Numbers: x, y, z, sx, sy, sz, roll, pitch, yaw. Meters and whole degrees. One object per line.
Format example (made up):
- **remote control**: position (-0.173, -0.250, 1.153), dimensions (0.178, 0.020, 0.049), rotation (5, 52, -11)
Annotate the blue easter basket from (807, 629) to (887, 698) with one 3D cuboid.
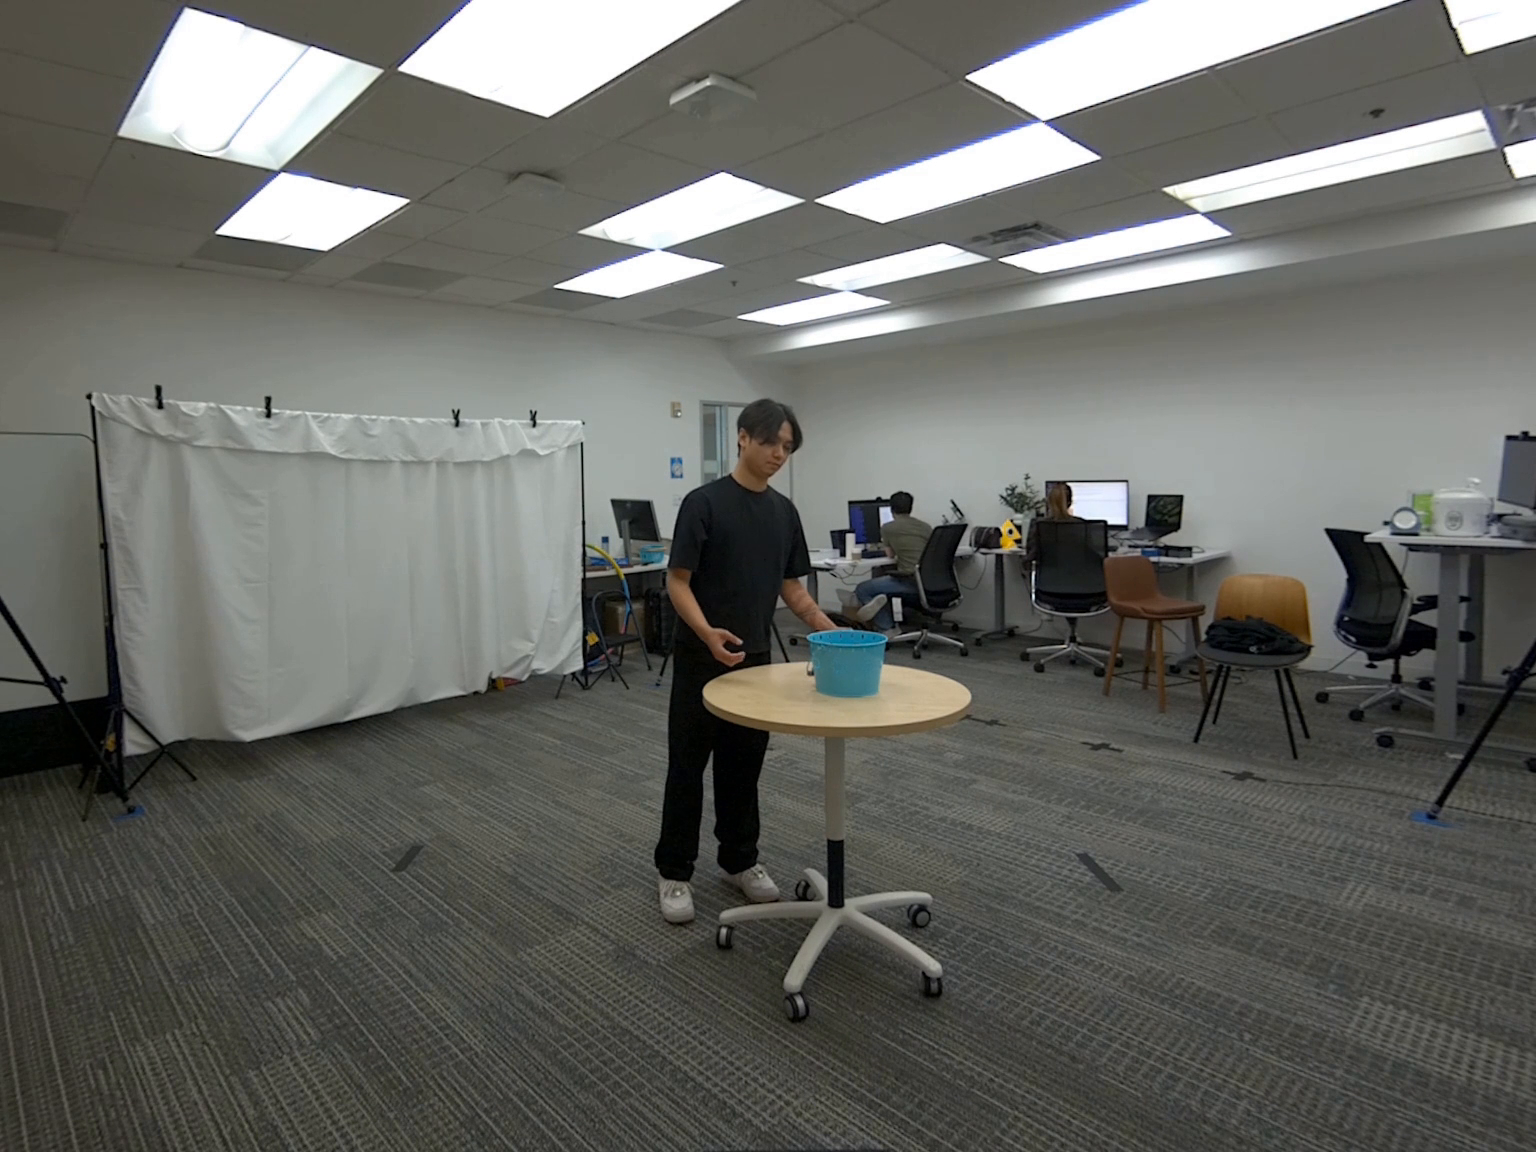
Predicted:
- **blue easter basket**: position (0.235, 0.257, 2.471), dimensions (0.243, 0.155, 0.245), rotation (0, 6, -2)
